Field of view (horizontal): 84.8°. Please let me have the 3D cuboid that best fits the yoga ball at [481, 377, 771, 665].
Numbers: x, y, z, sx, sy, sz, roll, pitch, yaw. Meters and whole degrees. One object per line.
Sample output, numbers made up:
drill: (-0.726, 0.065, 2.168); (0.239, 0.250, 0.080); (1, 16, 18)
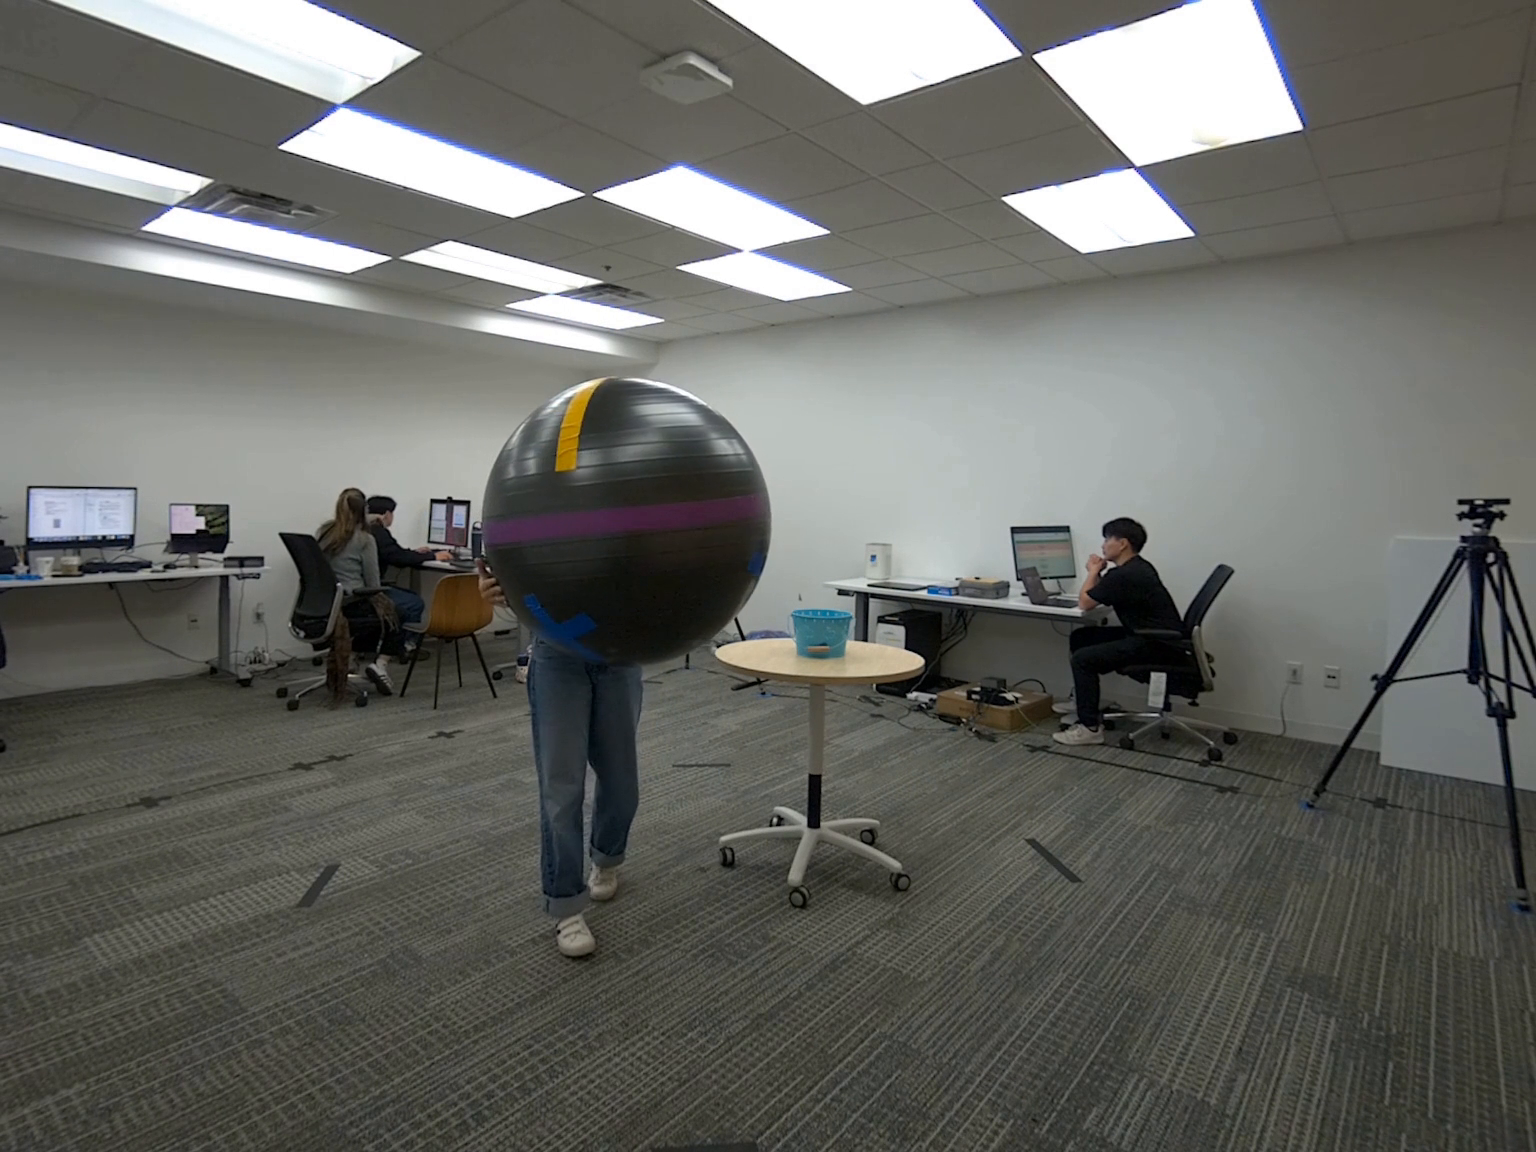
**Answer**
yoga ball: (-0.372, -0.134, 2.255); (0.757, 0.755, 0.762); (1, 4, -2)
